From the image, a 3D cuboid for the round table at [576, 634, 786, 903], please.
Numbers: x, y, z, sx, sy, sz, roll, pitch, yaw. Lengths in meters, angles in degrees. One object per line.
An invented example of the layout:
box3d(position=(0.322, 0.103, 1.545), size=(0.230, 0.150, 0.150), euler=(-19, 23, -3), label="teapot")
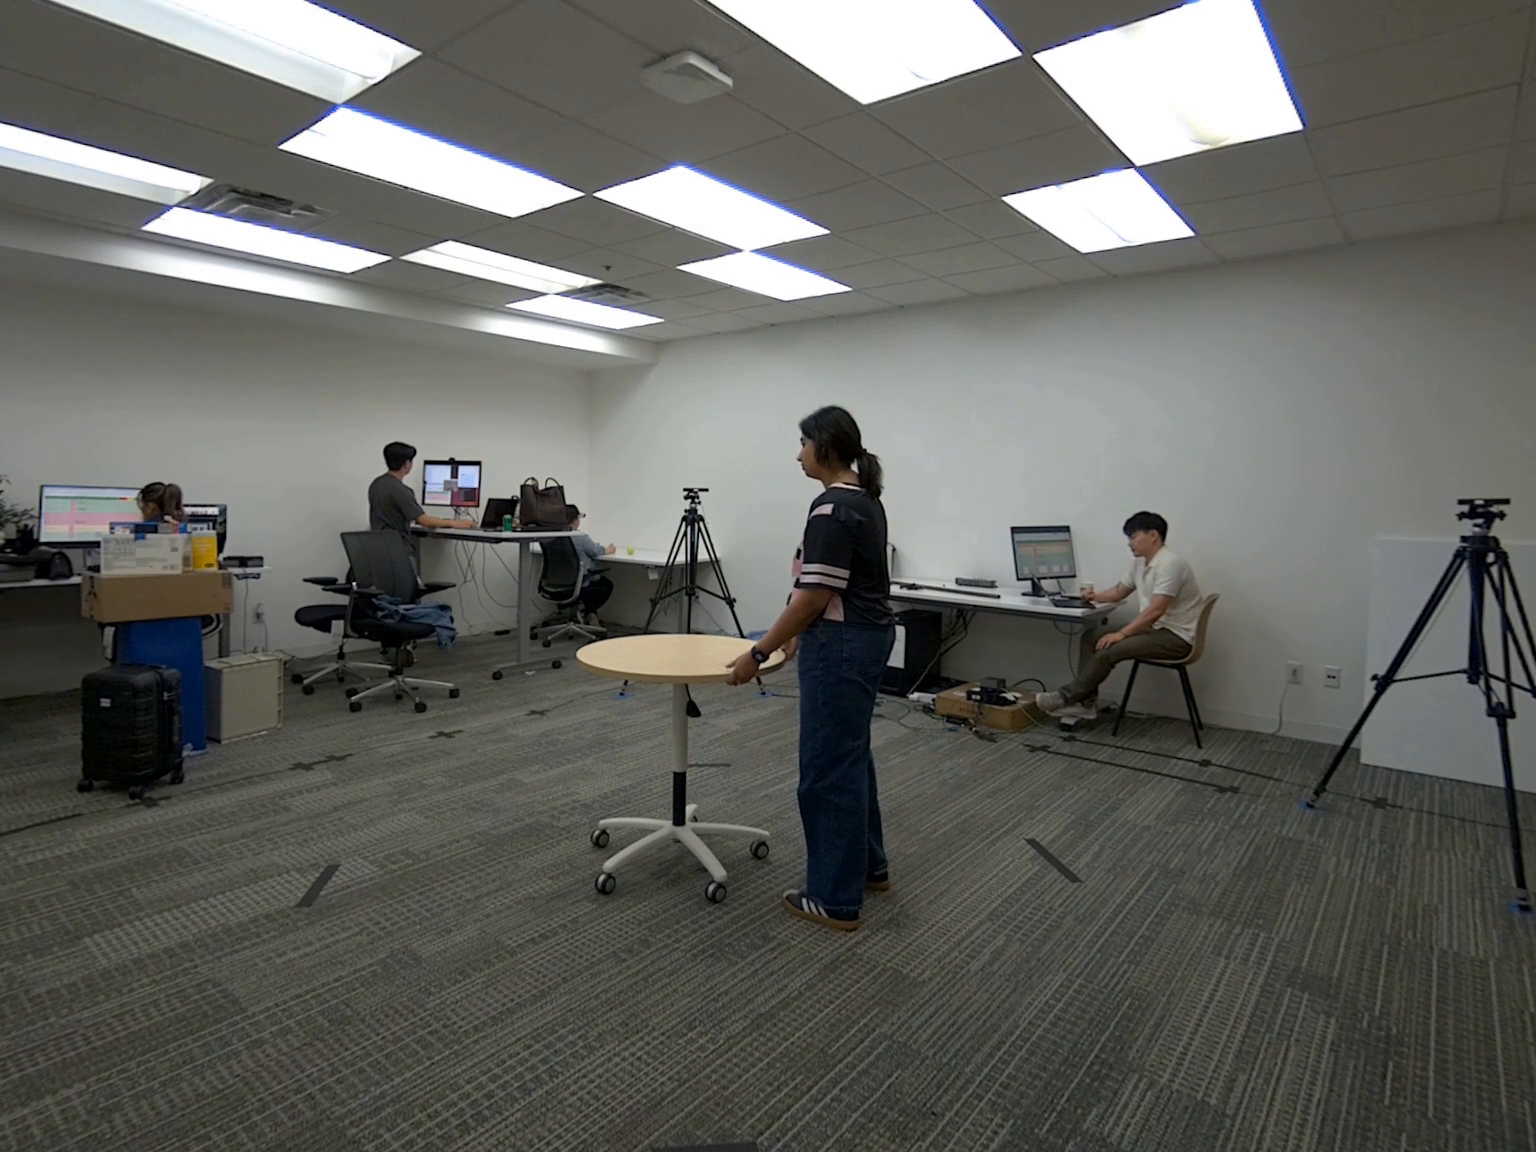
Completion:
box3d(position=(-0.340, 0.674, 3.157), size=(0.763, 0.792, 0.767), euler=(1, 4, -2), label="round table")
